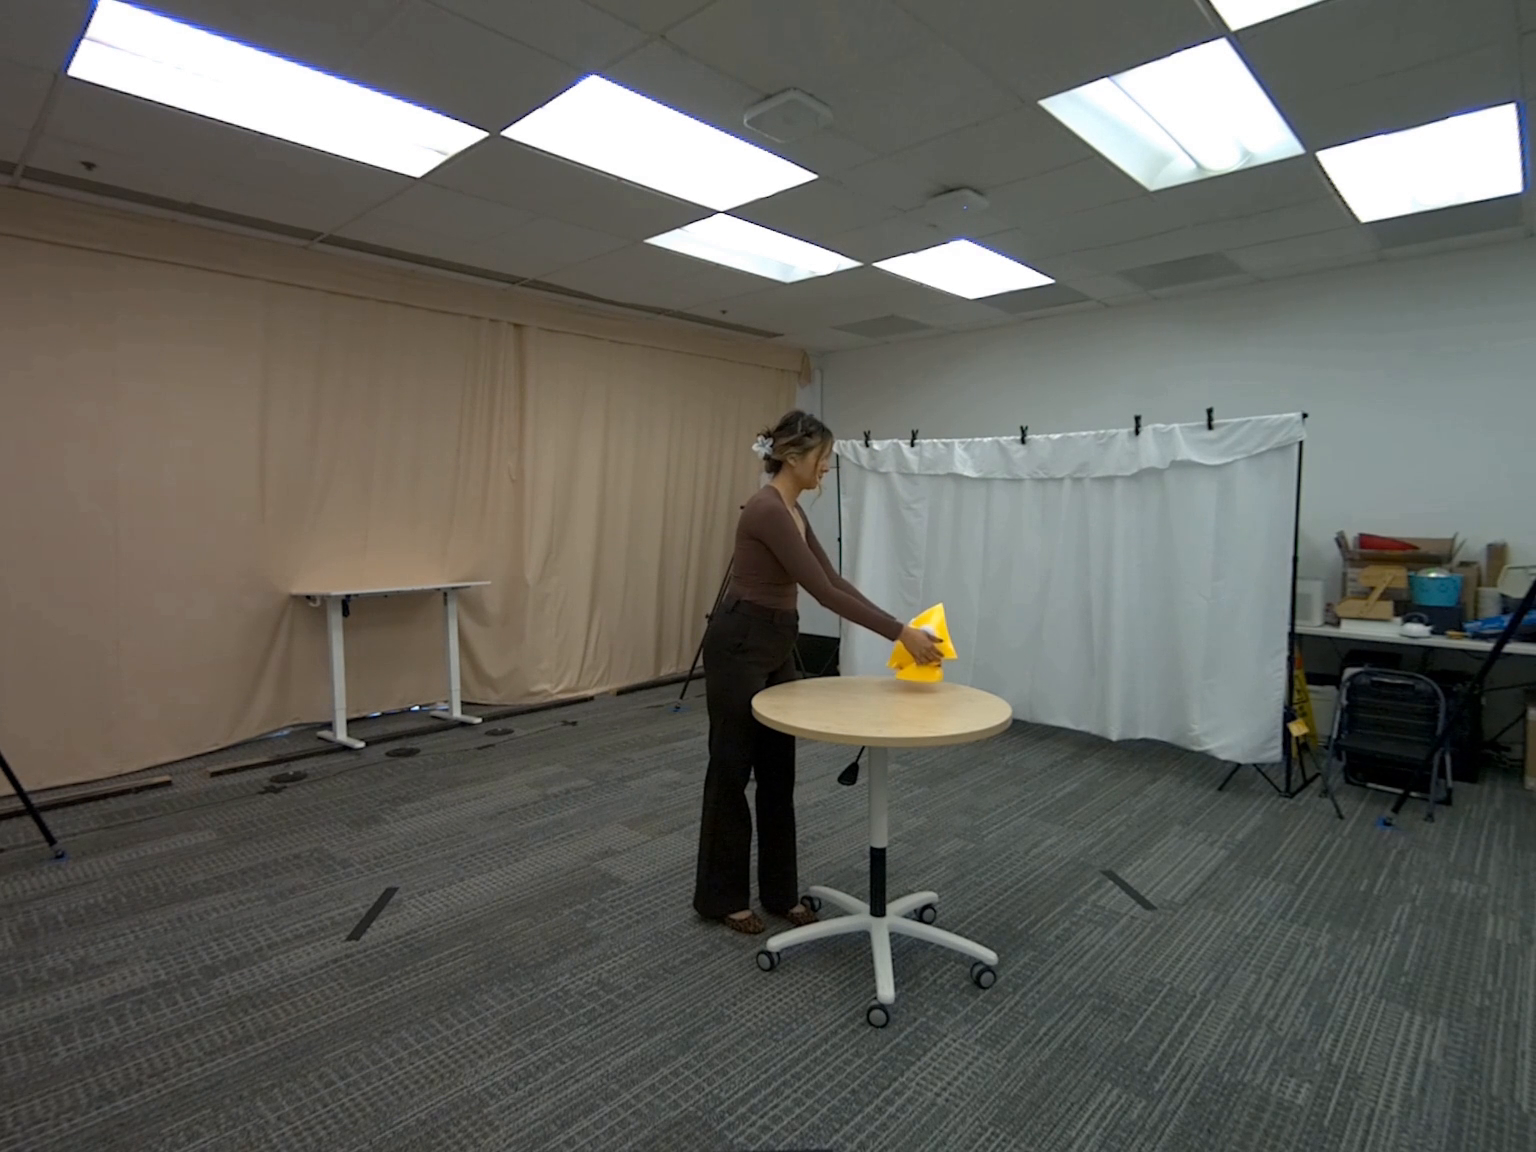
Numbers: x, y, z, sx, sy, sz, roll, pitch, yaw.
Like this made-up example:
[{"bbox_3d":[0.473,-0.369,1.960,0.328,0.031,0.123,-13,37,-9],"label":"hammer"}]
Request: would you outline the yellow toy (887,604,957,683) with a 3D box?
[{"bbox_3d":[0.497,0.199,2.706,0.192,0.229,0.206,2,9,-3],"label":"yellow toy"}]
